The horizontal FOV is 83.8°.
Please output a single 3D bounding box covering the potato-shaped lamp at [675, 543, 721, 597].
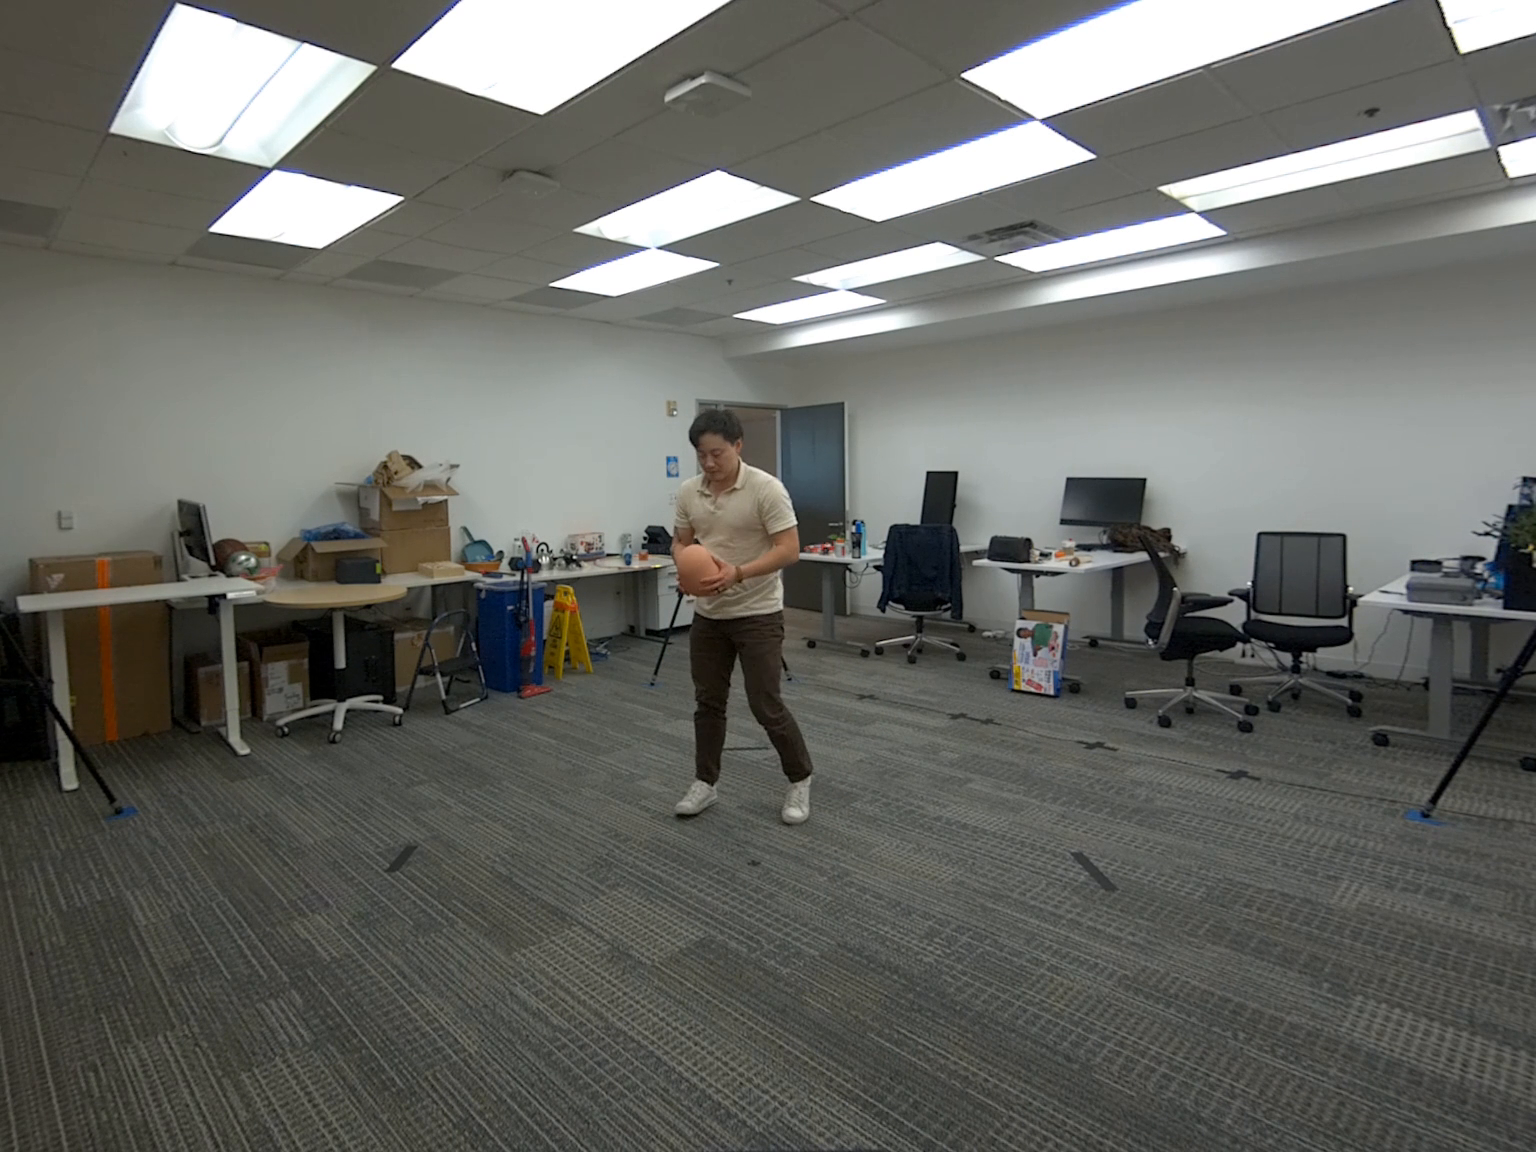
[{"bbox_3d":[-0.253,-0.018,3.246,0.170,0.192,0.170,14,38,35],"label":"potato-shaped lamp"}]
